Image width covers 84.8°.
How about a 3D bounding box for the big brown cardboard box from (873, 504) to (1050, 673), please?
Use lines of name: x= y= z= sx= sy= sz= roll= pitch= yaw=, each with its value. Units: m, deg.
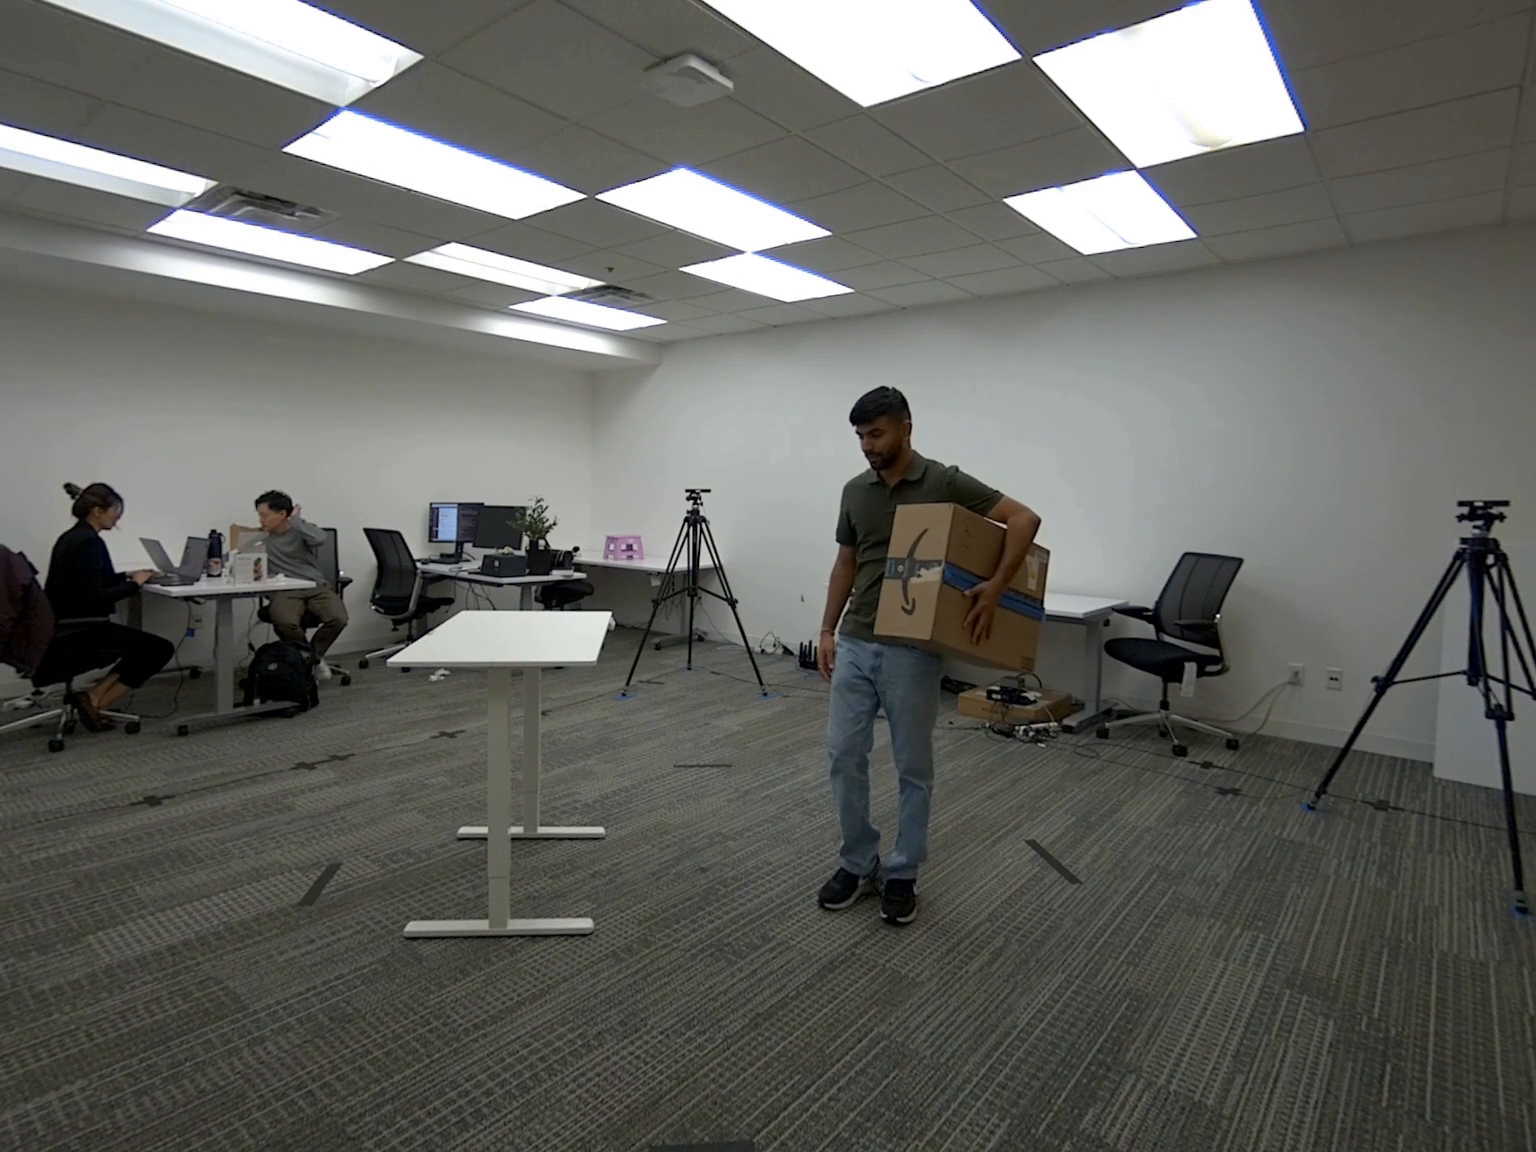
big brown cardboard box: x=0.630 y=0.049 z=2.719 sx=0.567 sy=0.420 sz=0.240 roll=18 pitch=-12 yaw=-38
